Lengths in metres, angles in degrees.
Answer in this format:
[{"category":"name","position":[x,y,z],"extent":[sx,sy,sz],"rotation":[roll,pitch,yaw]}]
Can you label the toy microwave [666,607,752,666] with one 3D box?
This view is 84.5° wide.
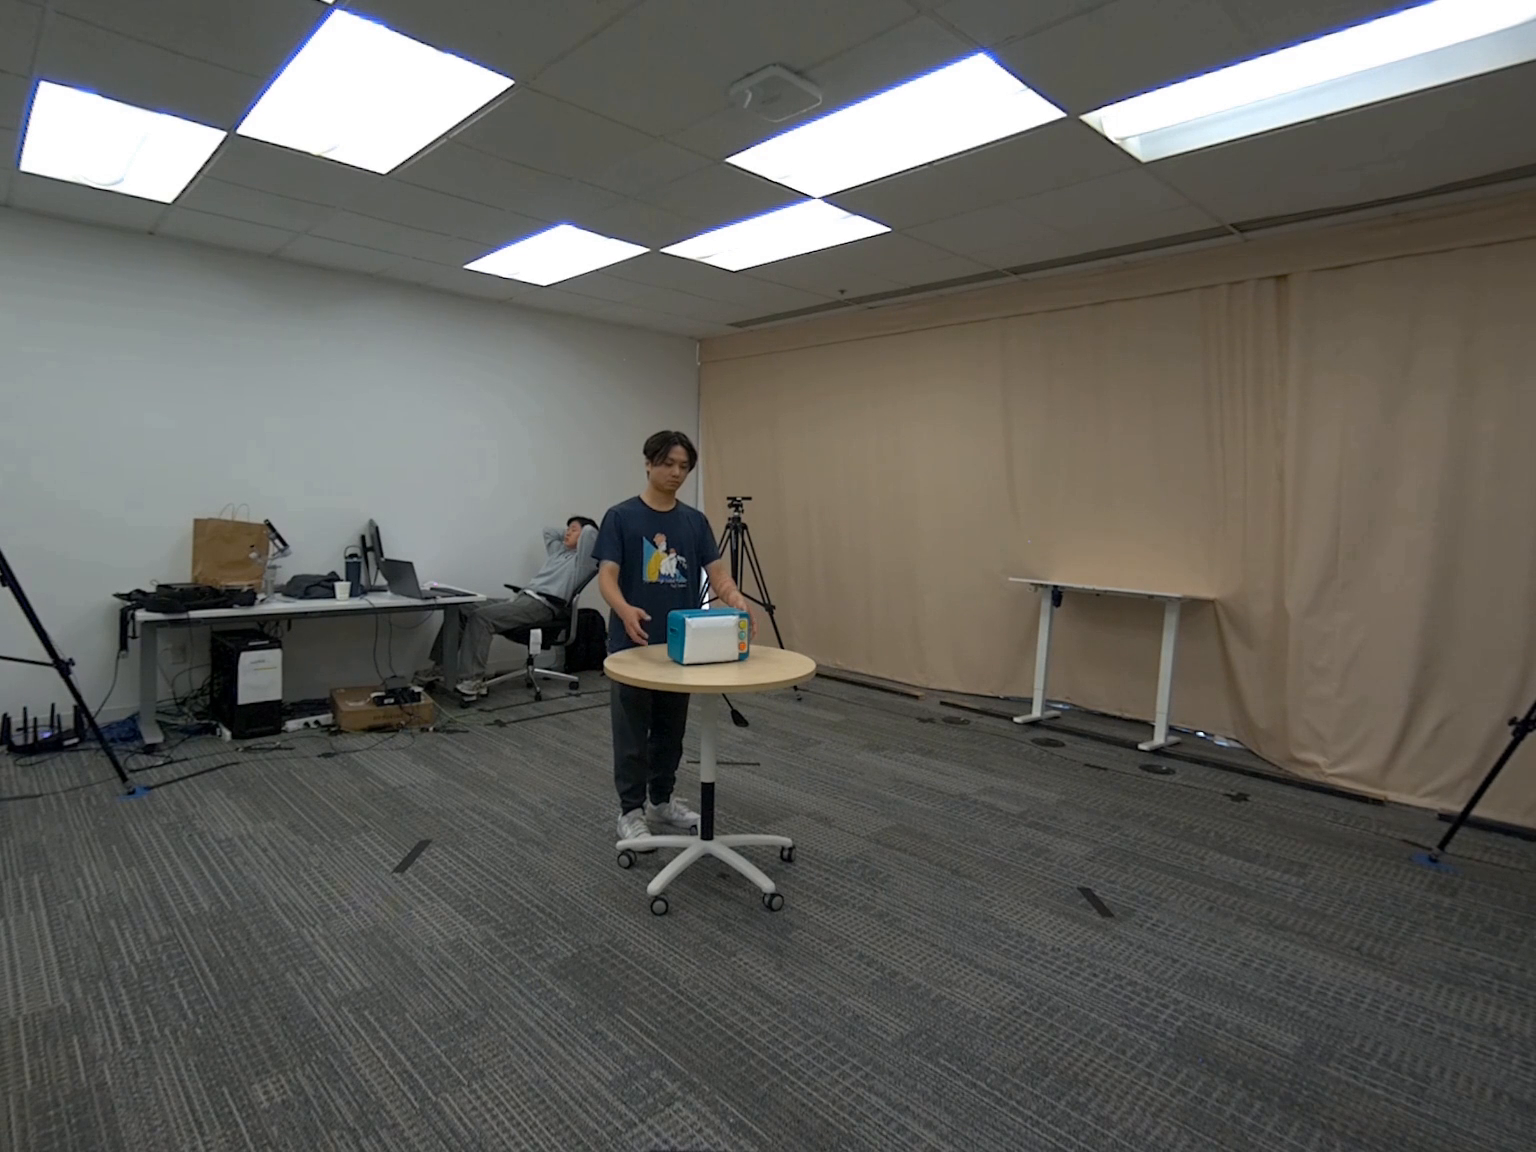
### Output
[{"category":"toy microwave","position":[-0.215,0.215,3.055],"extent":[0.281,0.184,0.155],"rotation":[0,4,-25]}]
